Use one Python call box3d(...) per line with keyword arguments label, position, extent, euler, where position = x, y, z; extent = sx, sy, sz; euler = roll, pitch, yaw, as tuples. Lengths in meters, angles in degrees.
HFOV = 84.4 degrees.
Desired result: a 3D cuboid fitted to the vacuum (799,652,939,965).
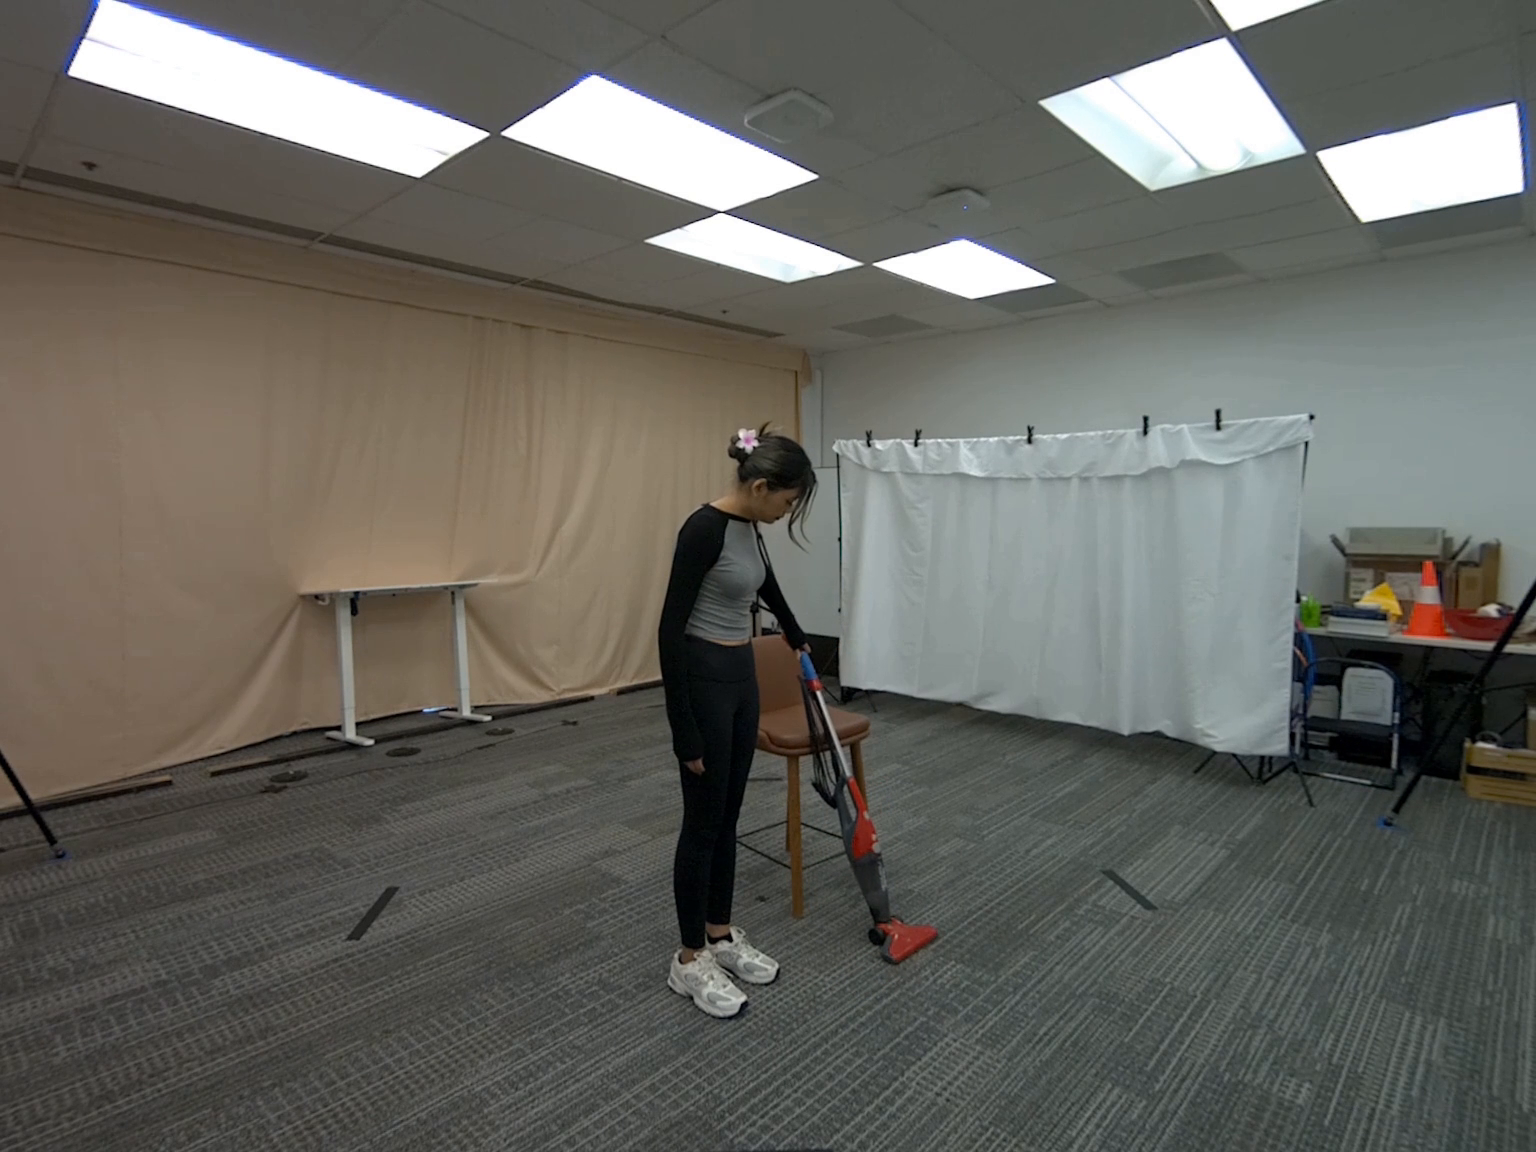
box3d(label="vacuum", position=(0.266, 0.689, 2.821), extent=(0.146, 1.066, 0.244), euler=(-33, -21, 36))
